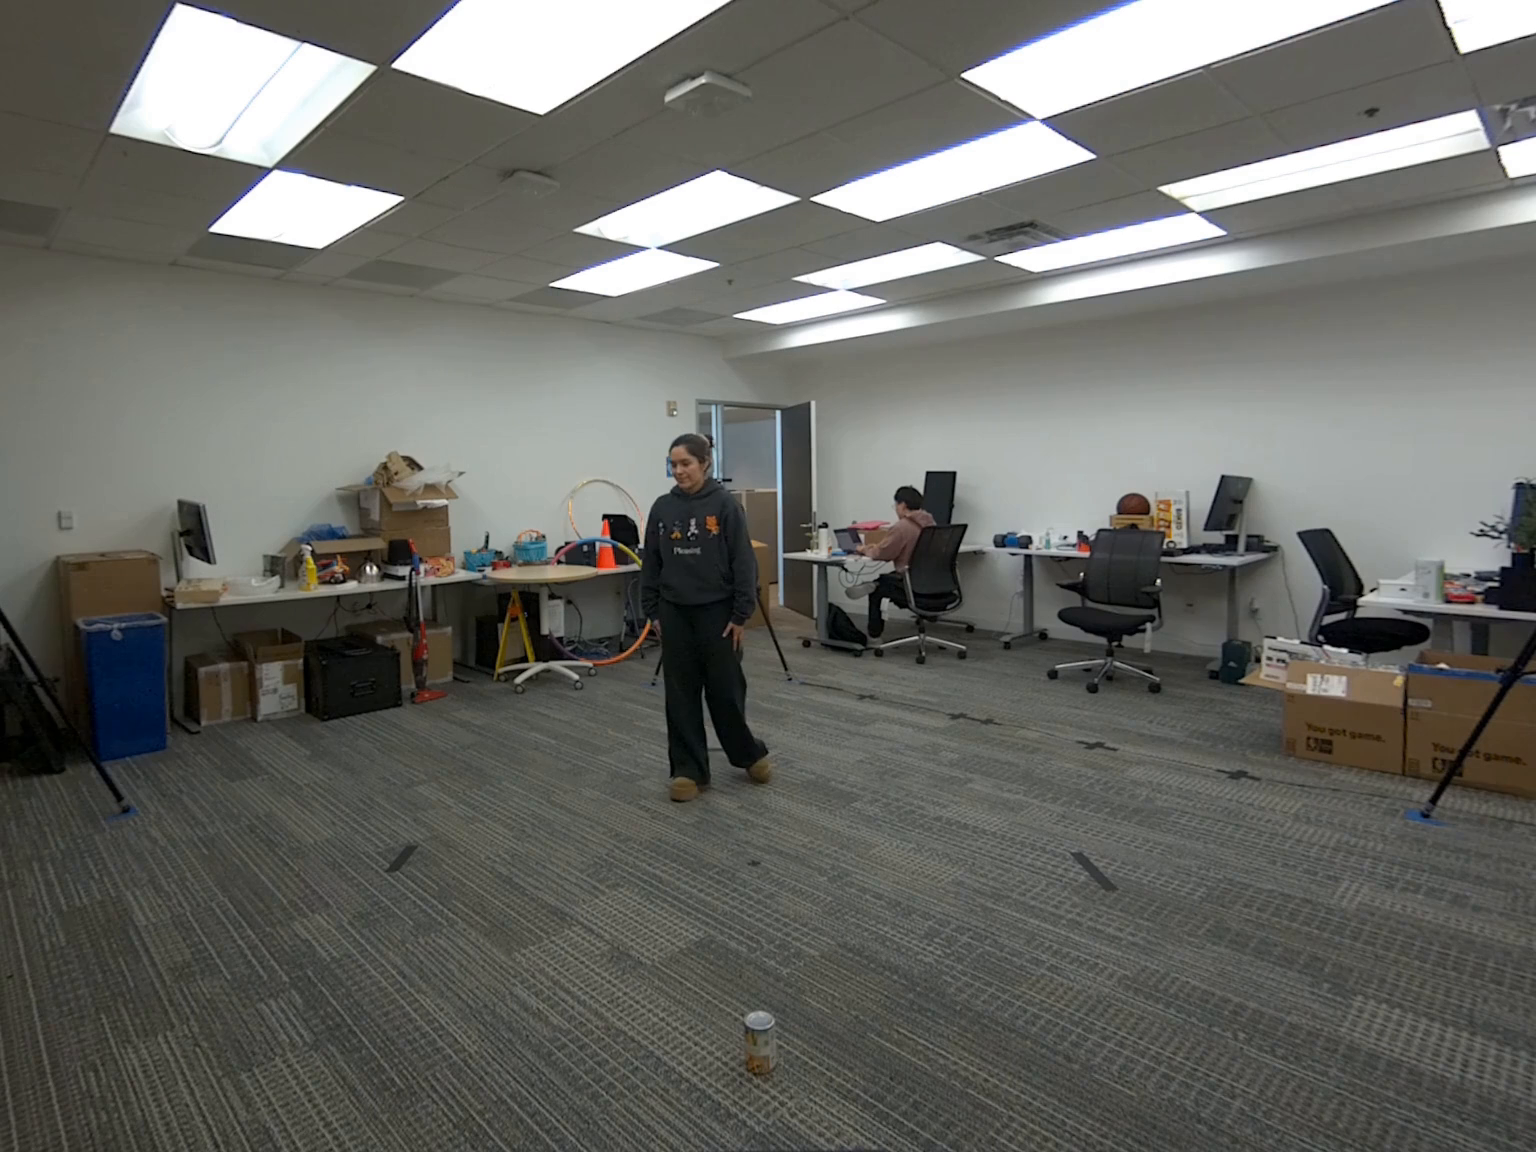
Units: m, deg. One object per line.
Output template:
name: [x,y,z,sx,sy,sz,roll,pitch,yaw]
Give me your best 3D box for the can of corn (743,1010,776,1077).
can of corn: [-0.012,1.117,2.025,0.074,0.111,0.074,0,4,-2]
